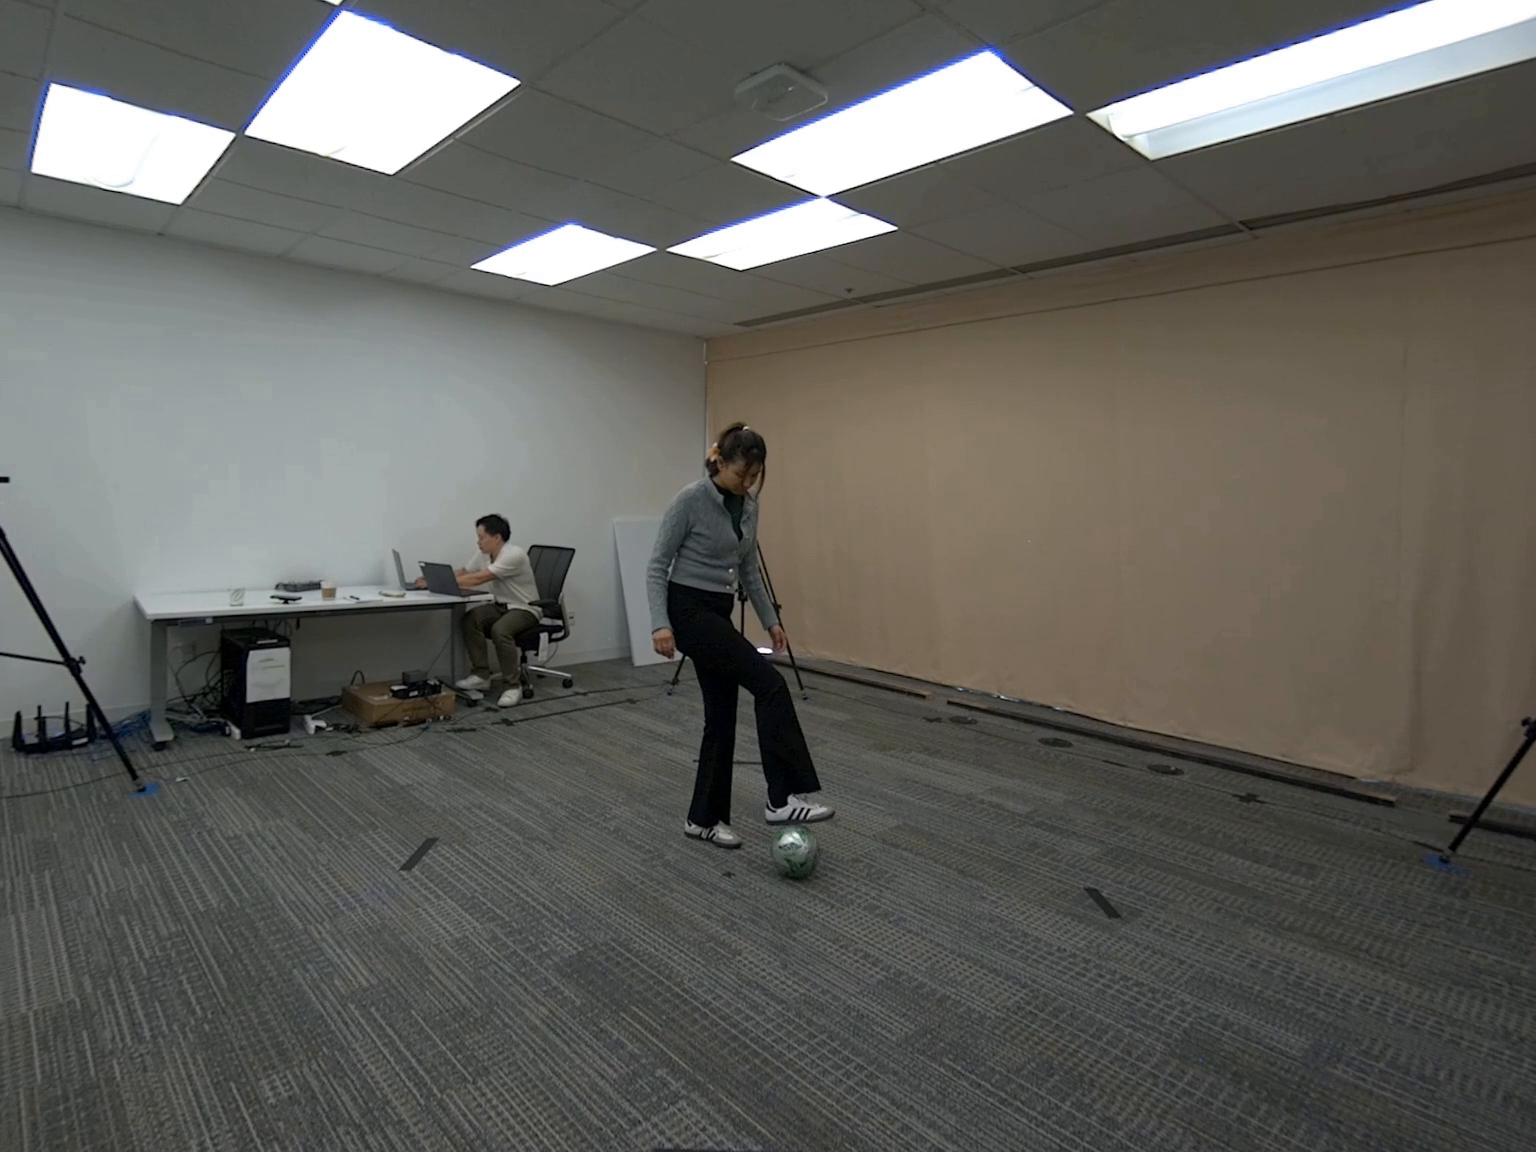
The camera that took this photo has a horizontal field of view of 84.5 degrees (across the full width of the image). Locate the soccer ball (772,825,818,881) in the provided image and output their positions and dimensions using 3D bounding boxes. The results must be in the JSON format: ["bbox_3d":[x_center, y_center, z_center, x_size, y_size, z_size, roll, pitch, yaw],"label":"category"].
[{"bbox_3d":[0.068,1.014,3.092,0.187,0.187,0.188,1,4,-1],"label":"soccer ball"}]
